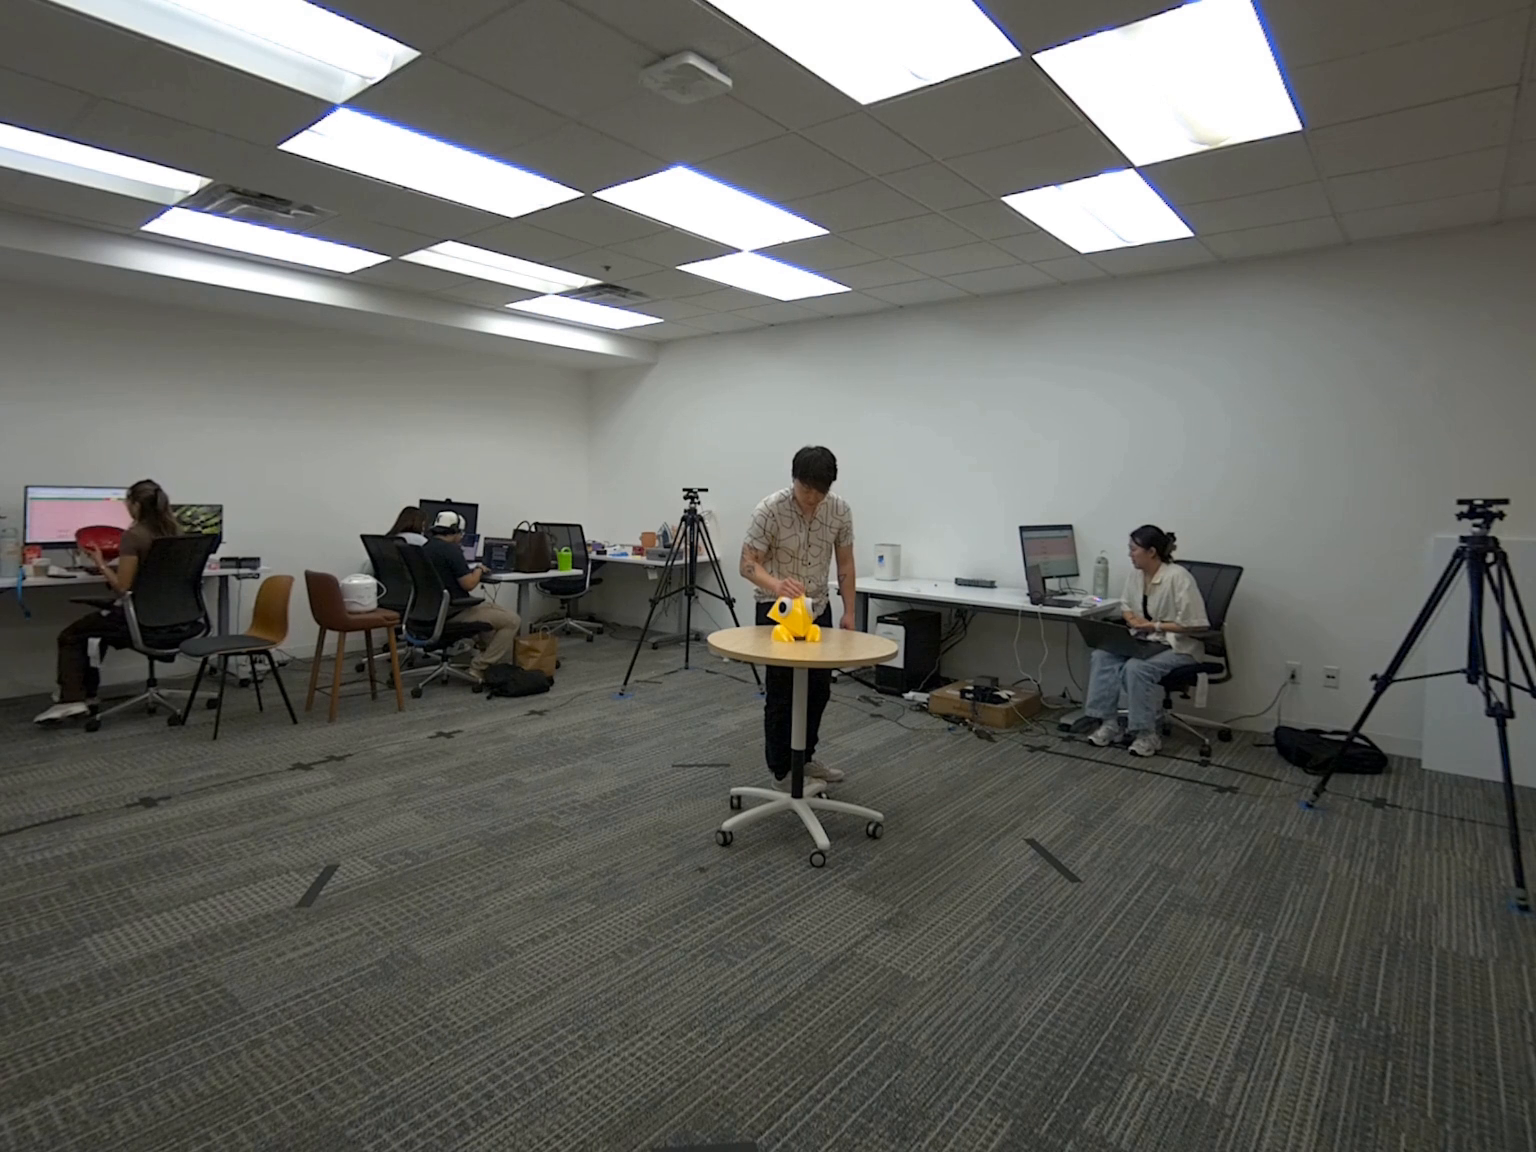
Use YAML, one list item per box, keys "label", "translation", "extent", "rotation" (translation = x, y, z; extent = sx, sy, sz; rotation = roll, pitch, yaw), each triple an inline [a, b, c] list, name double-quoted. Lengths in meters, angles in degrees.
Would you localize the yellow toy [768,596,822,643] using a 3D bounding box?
- label: "yellow toy"
  translation: [0.112, 0.140, 3.516]
  extent: [0.202, 0.230, 0.196]
  rotation: [1, 4, -14]
